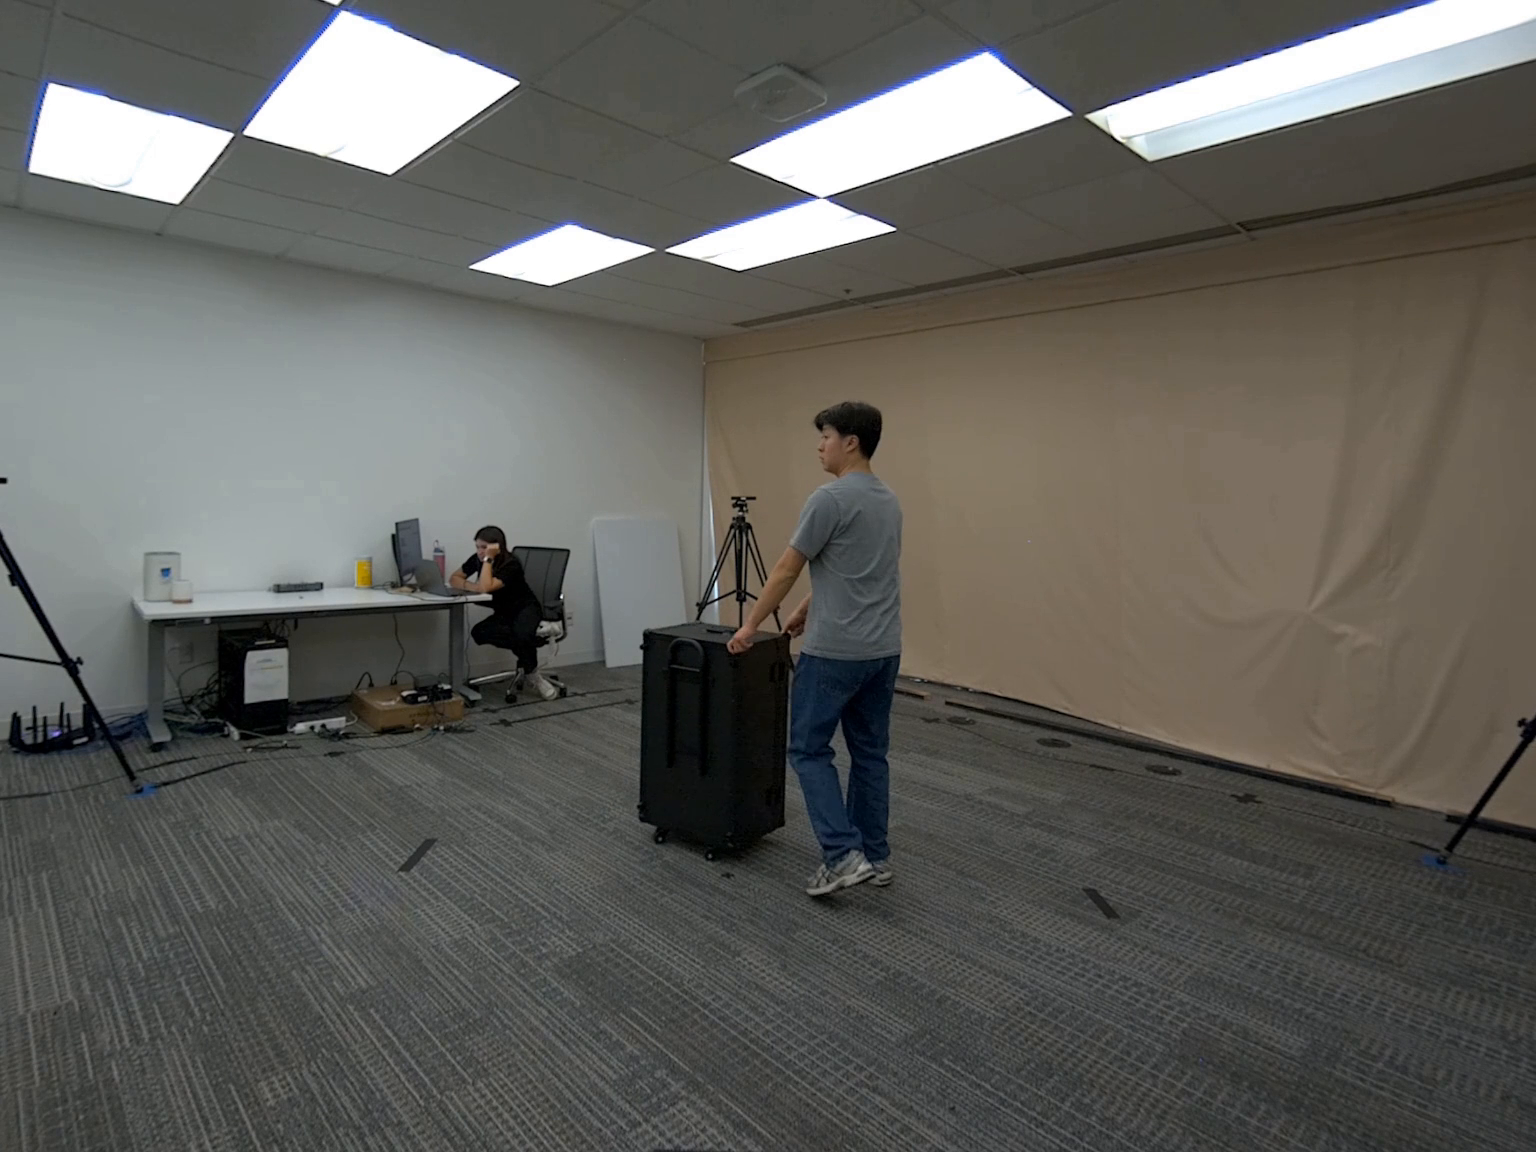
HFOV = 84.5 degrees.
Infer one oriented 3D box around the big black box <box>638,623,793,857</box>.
[{"bbox_3d":[-0.228,0.657,3.391,0.534,0.859,0.388,5,5,35],"label":"big black box"}]
